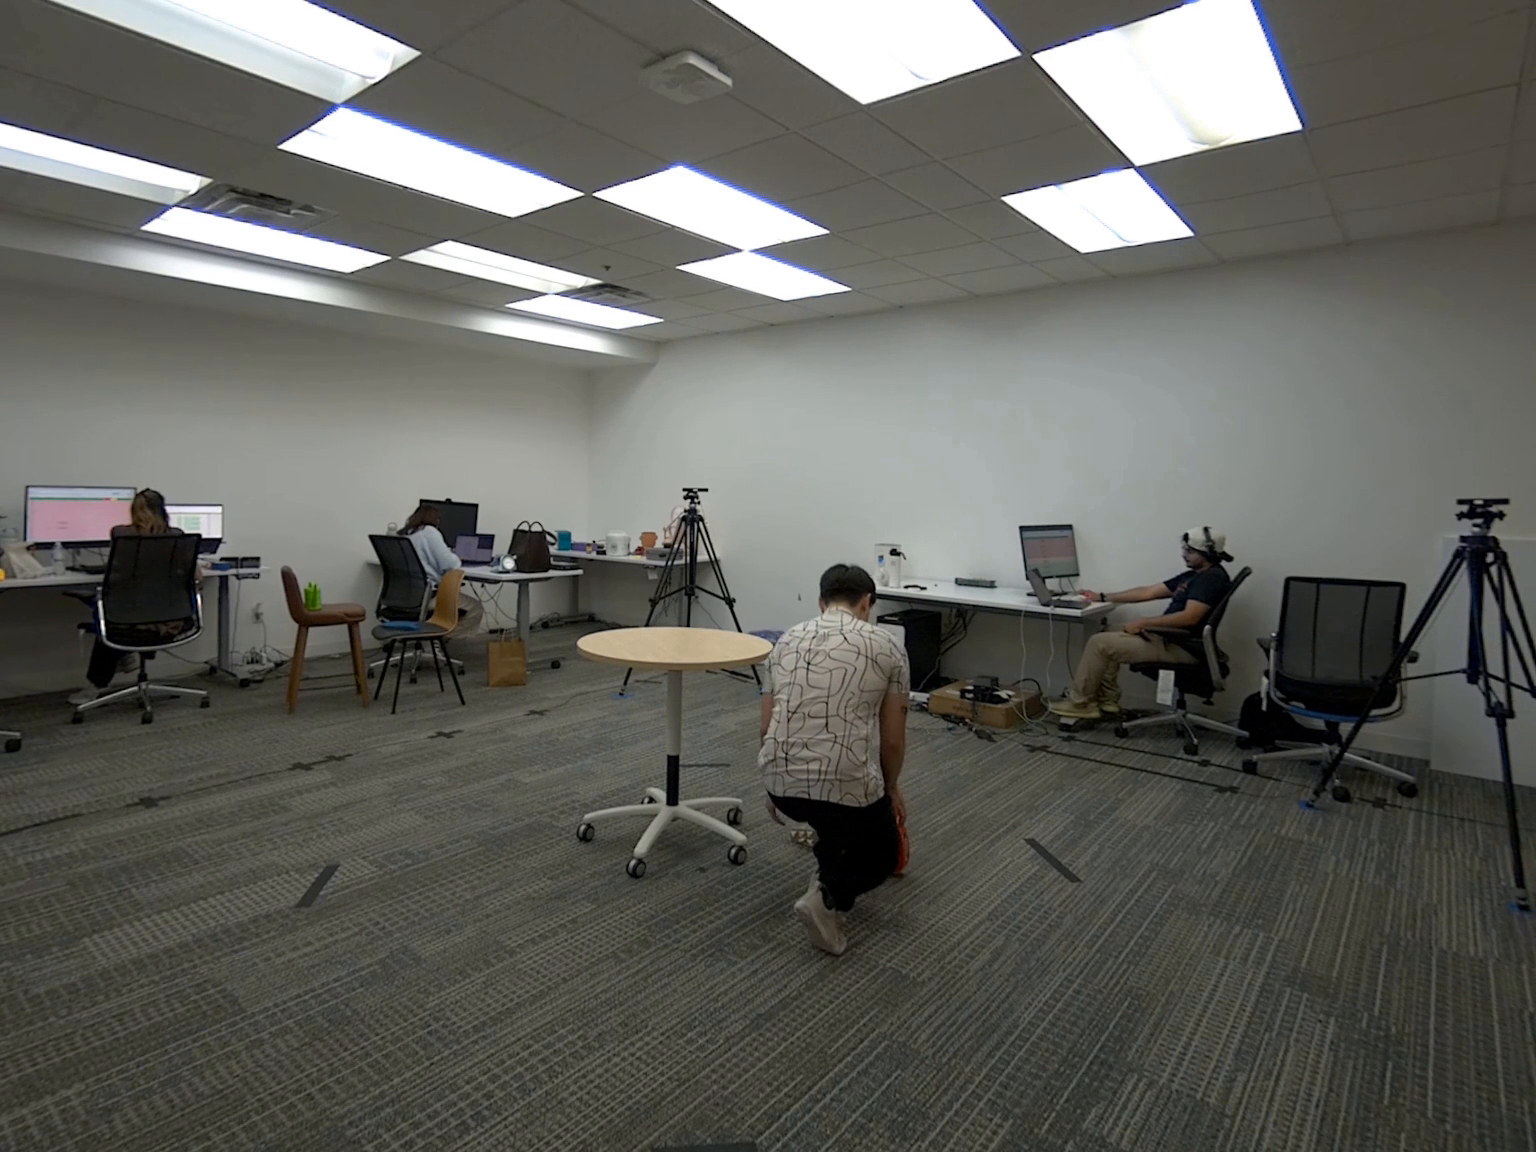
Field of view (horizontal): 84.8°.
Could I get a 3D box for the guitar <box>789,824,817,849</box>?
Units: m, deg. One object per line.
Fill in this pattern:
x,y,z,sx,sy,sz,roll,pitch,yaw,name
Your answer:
0.289,1.023,3.214,0.508,0.195,0.068,-16,-10,32,guitar
